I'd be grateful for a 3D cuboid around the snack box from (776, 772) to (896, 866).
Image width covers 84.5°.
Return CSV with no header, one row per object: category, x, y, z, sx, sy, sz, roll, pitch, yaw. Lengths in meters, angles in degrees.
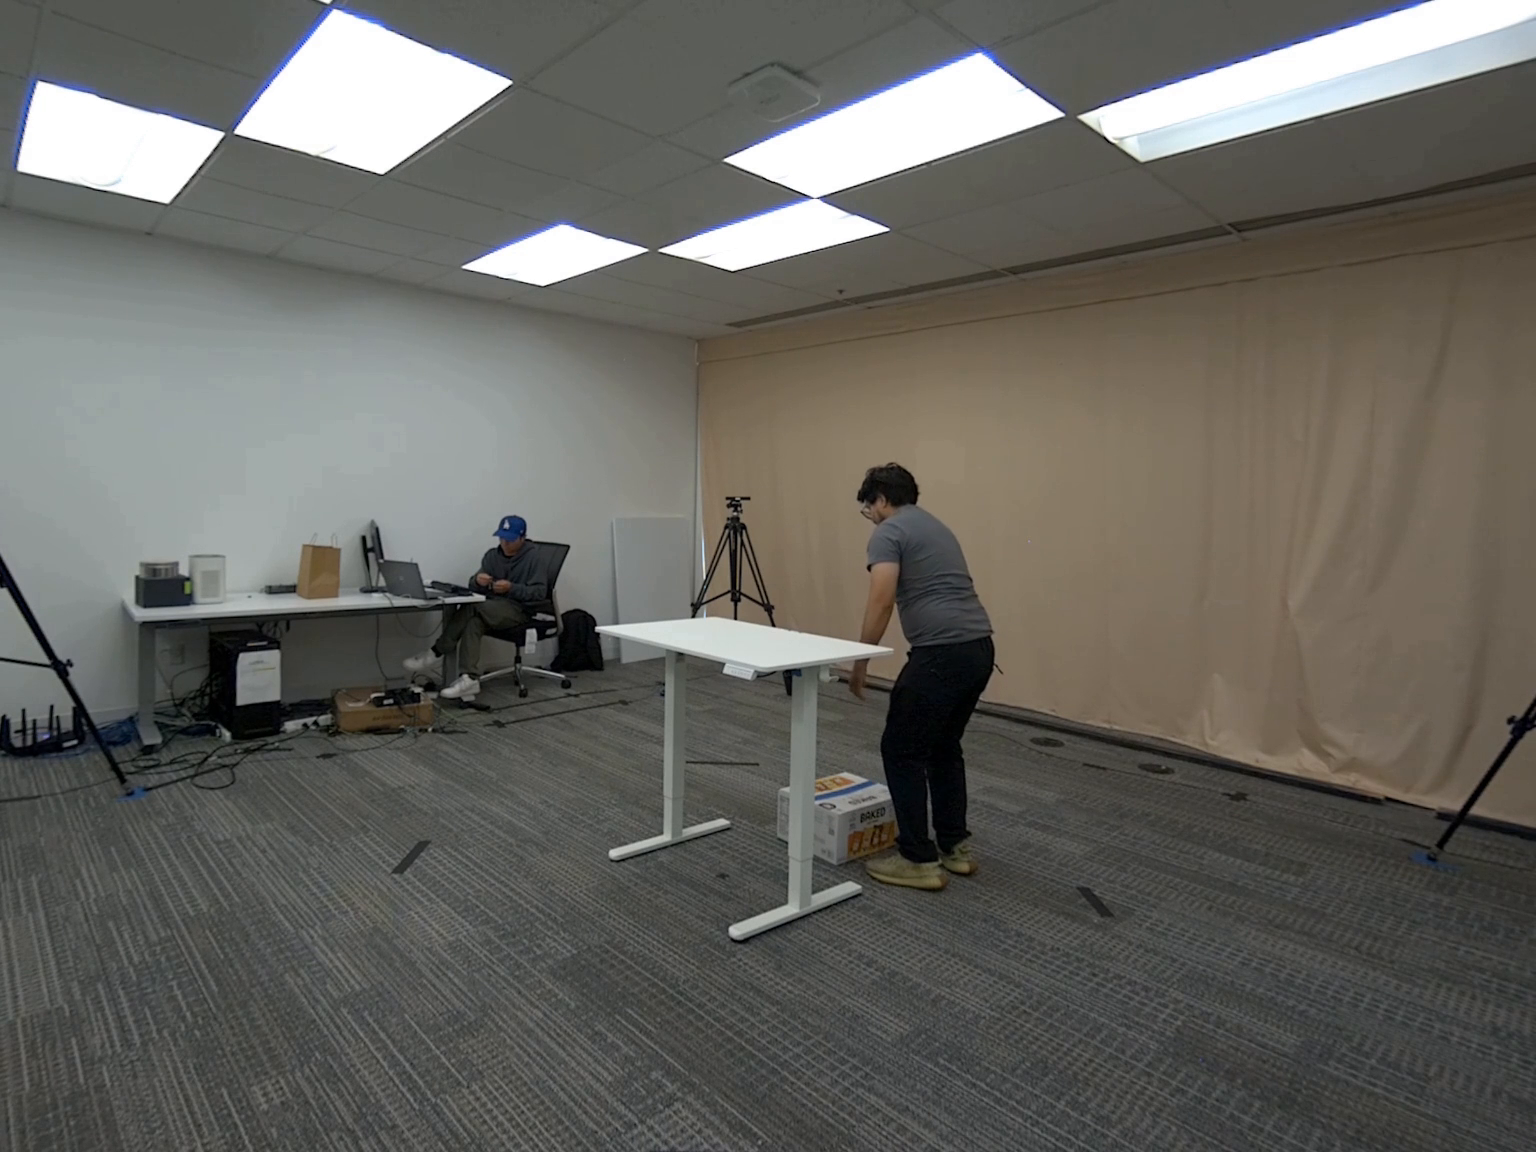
snack box,0.295,0.986,3.455,0.396,0.205,0.349,-2,5,-40
